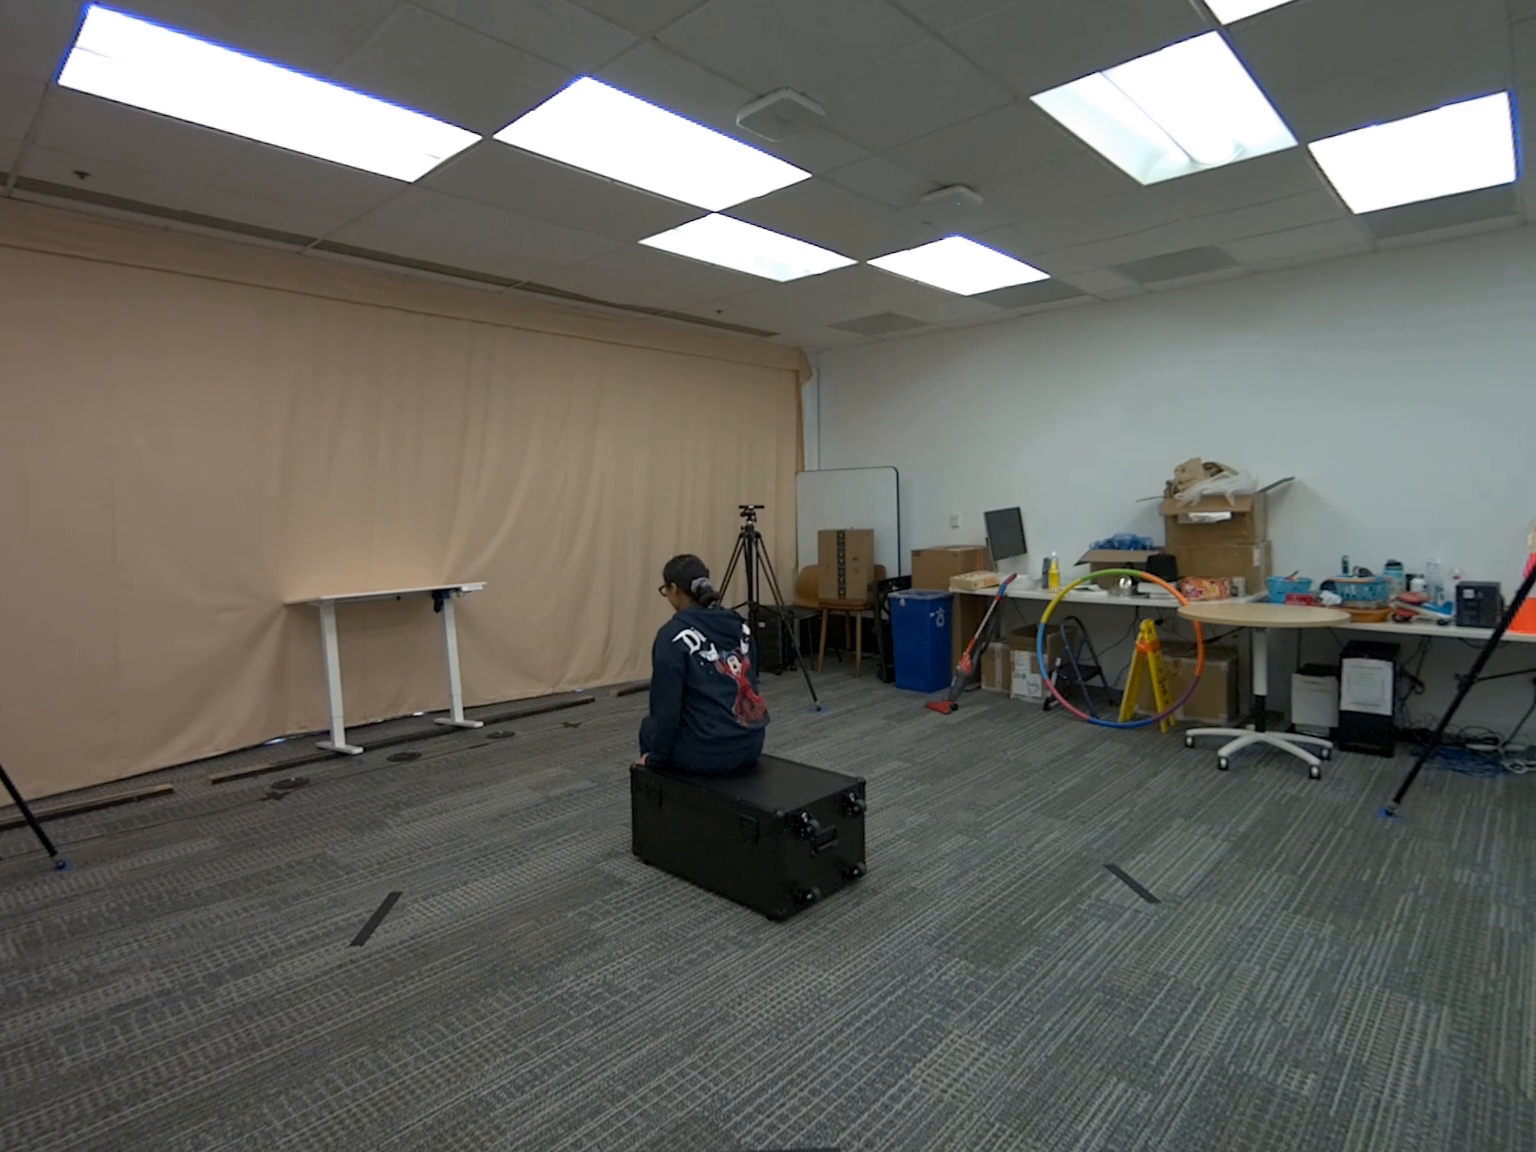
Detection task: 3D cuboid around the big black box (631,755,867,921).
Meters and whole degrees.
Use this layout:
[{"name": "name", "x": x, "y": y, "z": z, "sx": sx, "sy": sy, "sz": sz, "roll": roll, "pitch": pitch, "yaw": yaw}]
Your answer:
[{"name": "big black box", "x": -0.062, "y": 0.938, "z": 3.183, "sx": 0.890, "sy": 0.395, "sz": 0.505, "roll": 2, "pitch": 5, "yaw": 43}]
